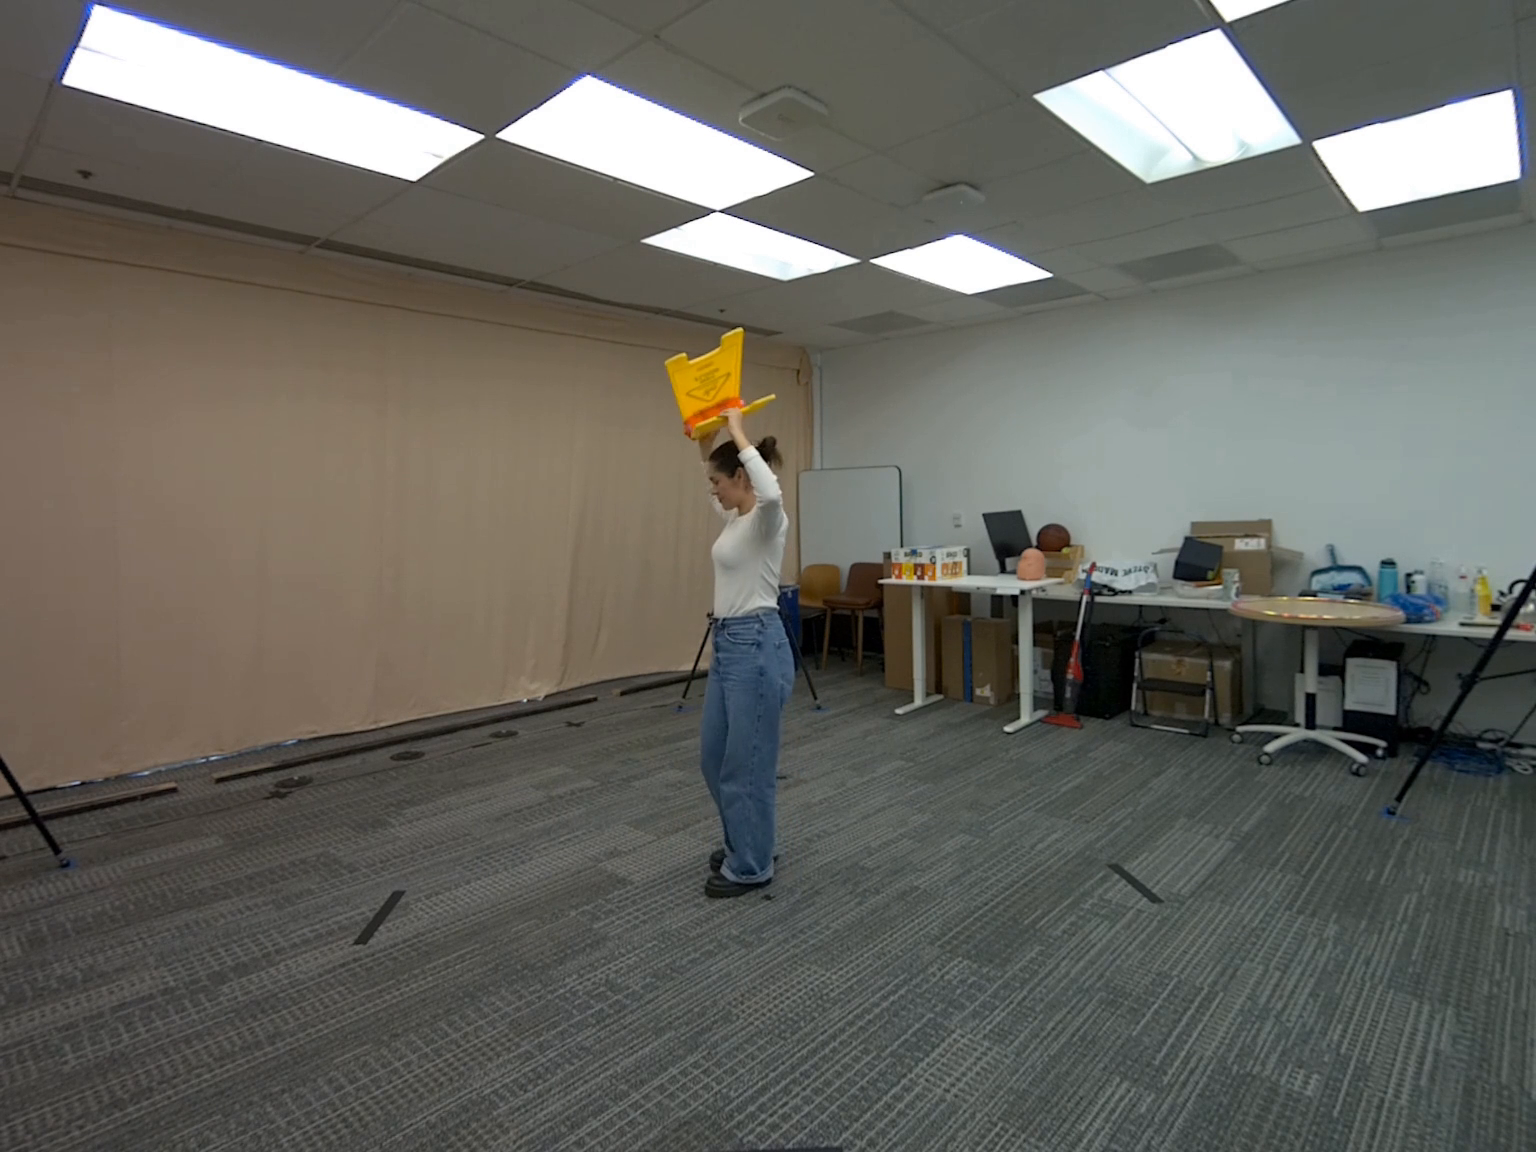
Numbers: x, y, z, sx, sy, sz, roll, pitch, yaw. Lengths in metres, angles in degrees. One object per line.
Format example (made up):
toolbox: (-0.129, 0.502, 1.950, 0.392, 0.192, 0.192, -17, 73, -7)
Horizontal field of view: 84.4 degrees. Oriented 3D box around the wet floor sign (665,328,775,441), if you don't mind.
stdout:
wet floor sign: (-0.184, -0.612, 3.028, 0.281, 0.290, 0.647, -25, -1, -7)
